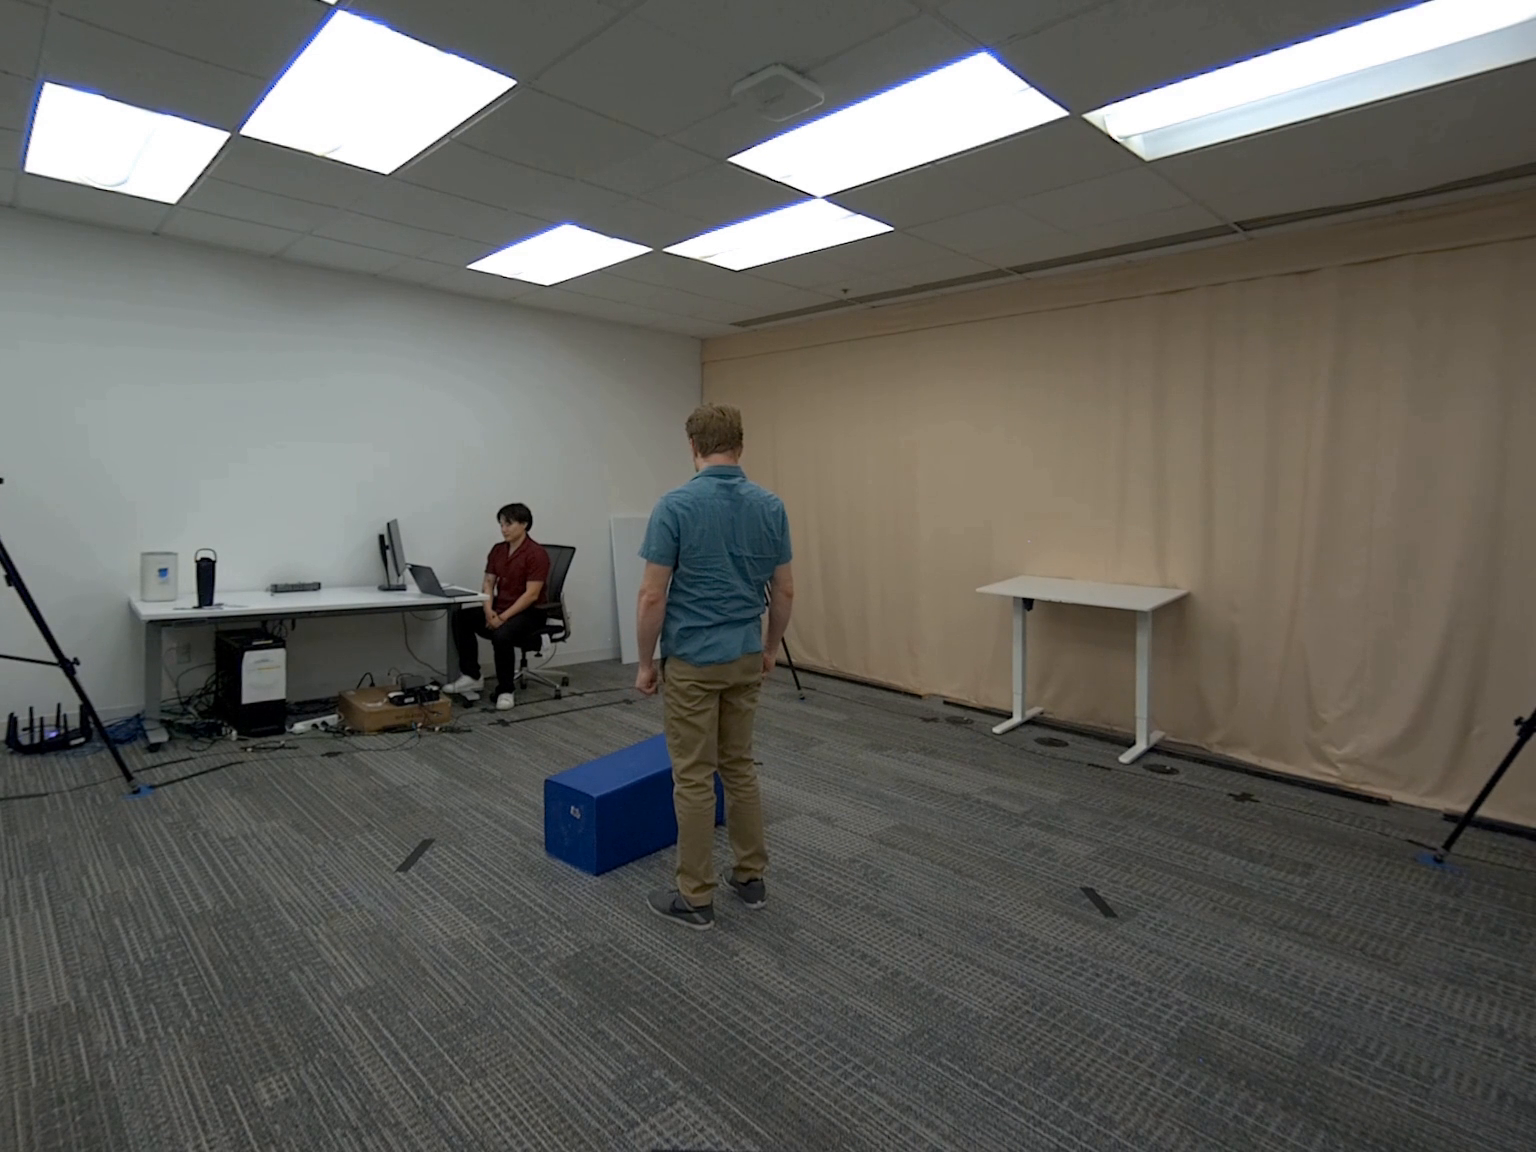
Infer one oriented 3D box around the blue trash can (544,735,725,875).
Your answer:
[{"bbox_3d":[-0.528,0.905,3.411,0.383,0.376,0.699,5,9,38],"label":"blue trash can"}]
